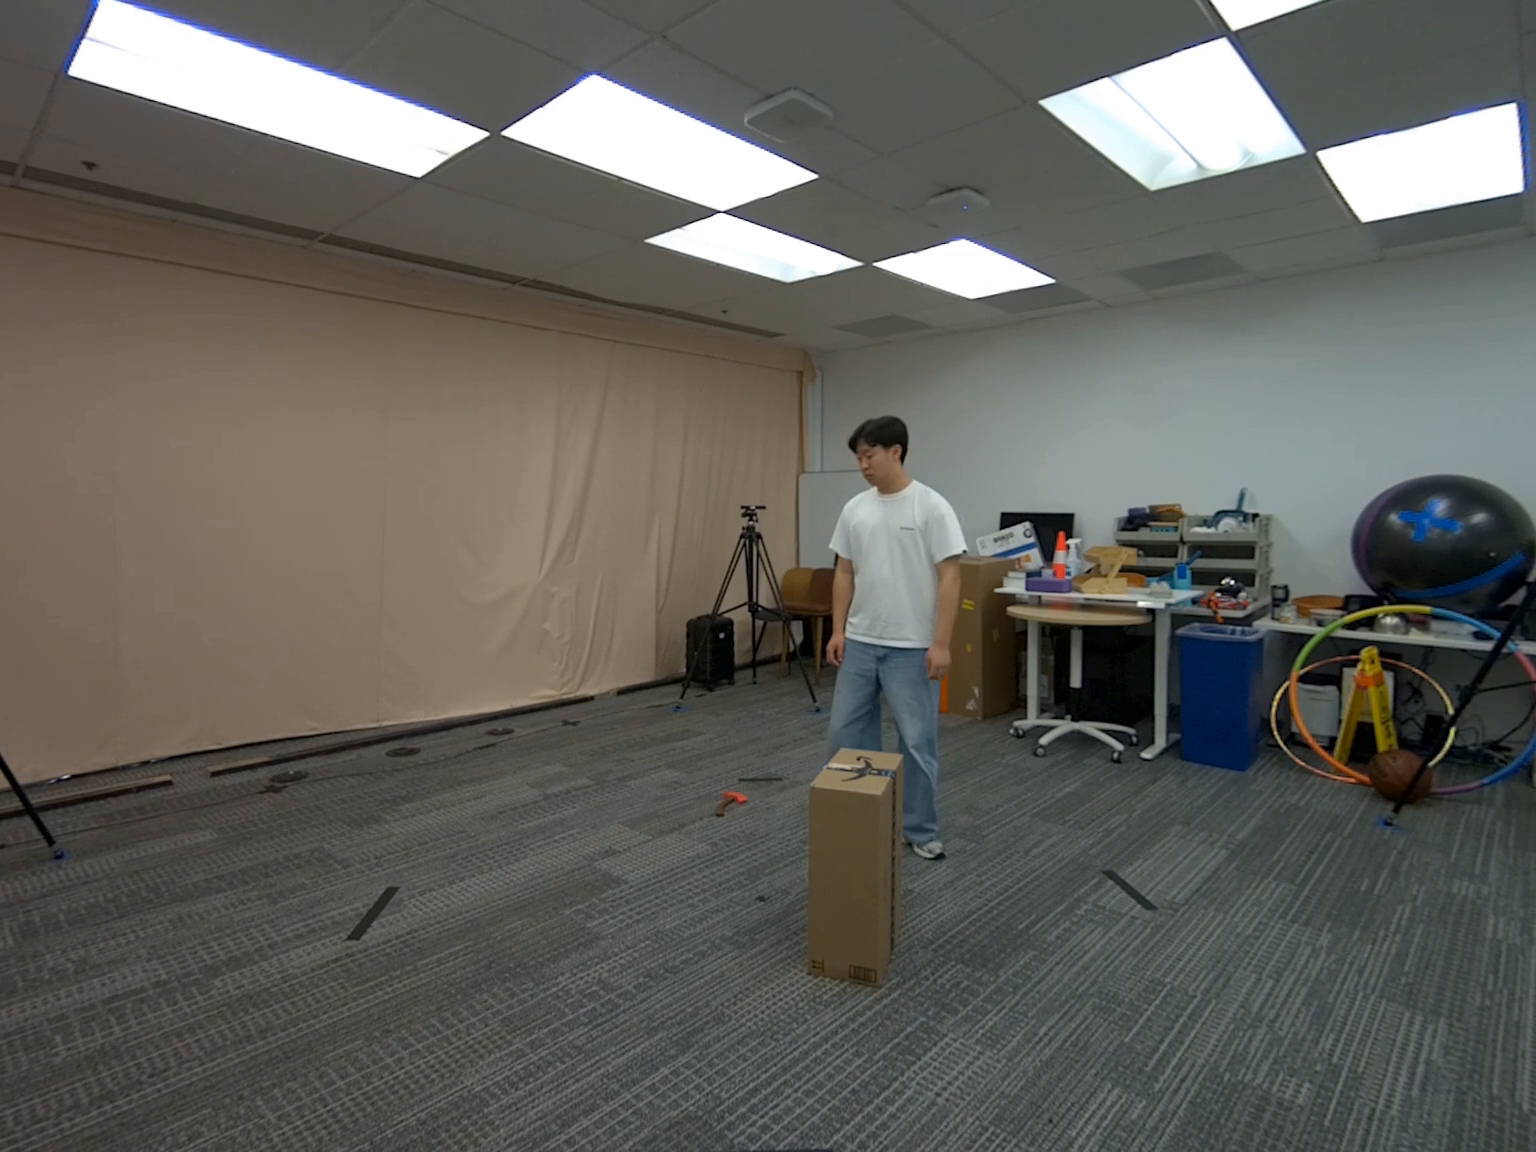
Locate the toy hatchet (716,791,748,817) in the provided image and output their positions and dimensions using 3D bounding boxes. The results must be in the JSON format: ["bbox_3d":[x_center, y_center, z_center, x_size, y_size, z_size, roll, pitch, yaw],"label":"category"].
[{"bbox_3d":[-0.165,1.057,3.900,0.132,0.029,0.269,4,7,5],"label":"toy hatchet"}]
